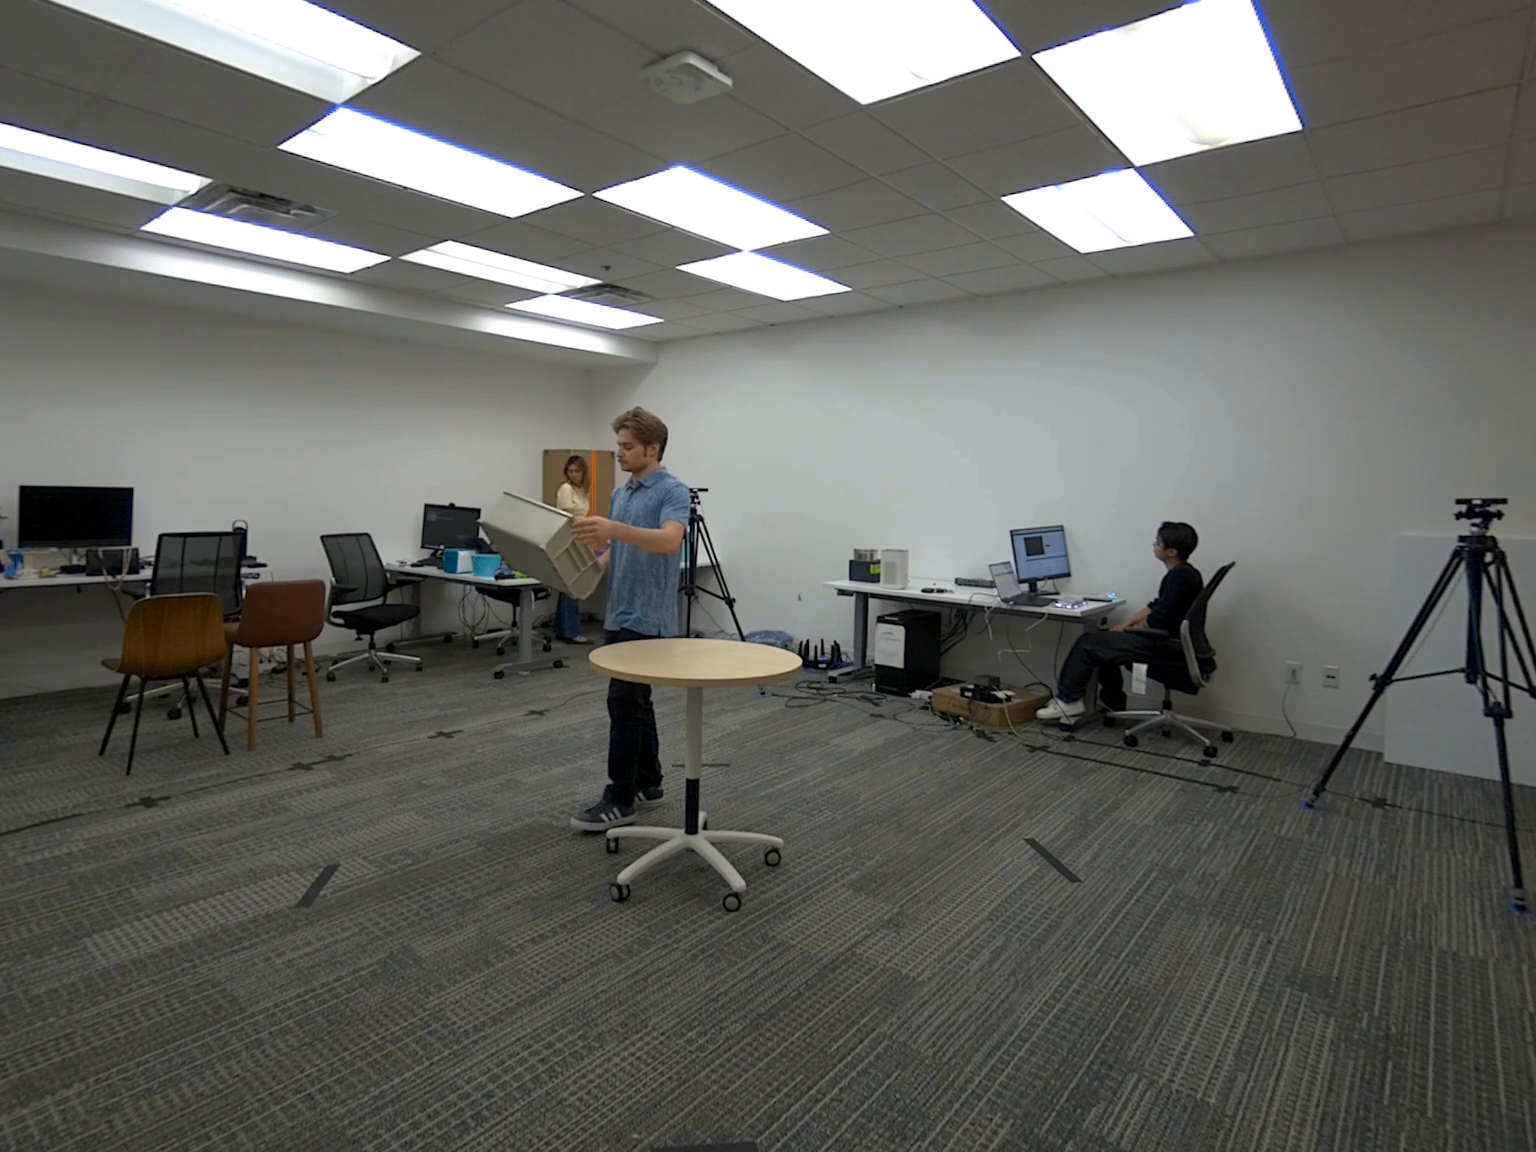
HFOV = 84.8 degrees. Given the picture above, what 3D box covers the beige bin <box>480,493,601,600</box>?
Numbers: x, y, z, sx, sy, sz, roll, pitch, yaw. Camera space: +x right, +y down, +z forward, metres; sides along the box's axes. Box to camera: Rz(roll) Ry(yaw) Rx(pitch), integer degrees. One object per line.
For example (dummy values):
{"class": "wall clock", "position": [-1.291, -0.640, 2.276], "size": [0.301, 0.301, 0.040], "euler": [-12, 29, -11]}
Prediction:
{"class": "beige bin", "position": [-0.953, -0.116, 3.510], "size": [0.438, 0.189, 0.363], "euler": [21, -31, 32]}
